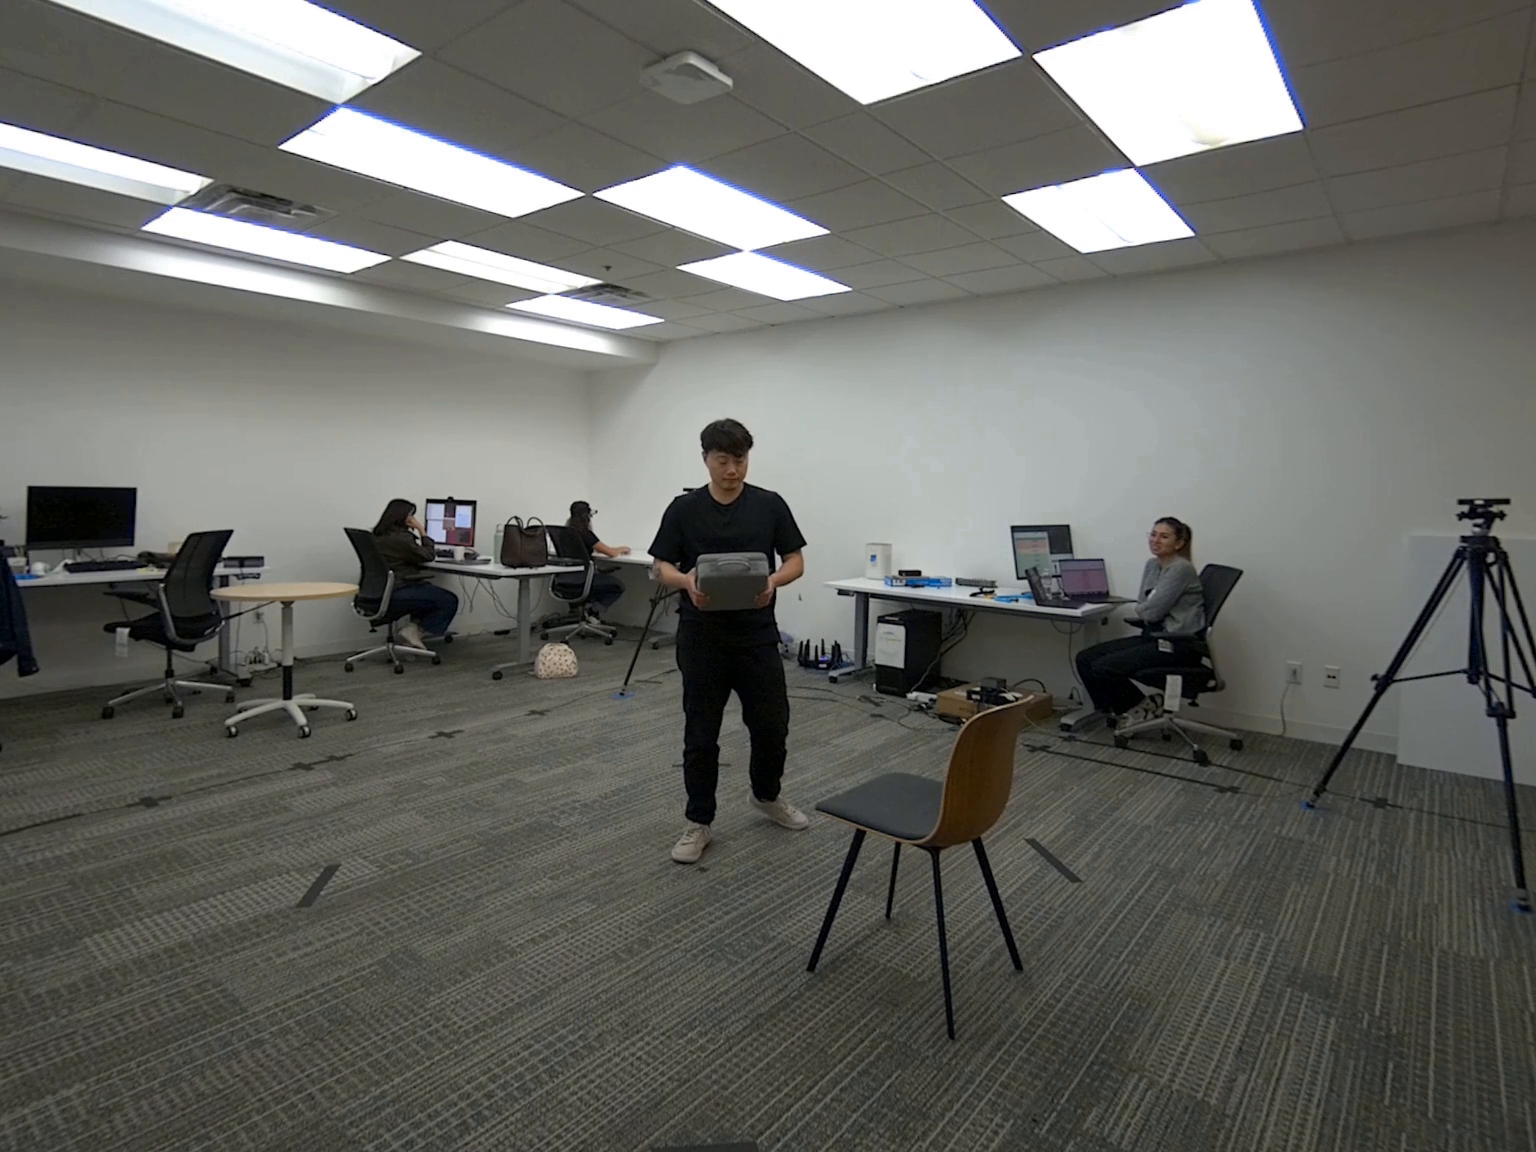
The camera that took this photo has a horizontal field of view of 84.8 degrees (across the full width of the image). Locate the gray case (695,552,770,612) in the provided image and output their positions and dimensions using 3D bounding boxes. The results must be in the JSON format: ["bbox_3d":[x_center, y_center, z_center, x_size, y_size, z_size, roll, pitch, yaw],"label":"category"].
[{"bbox_3d":[-0.138,0.018,3.054,0.256,0.107,0.254,-1,-32,-5],"label":"gray case"}]
